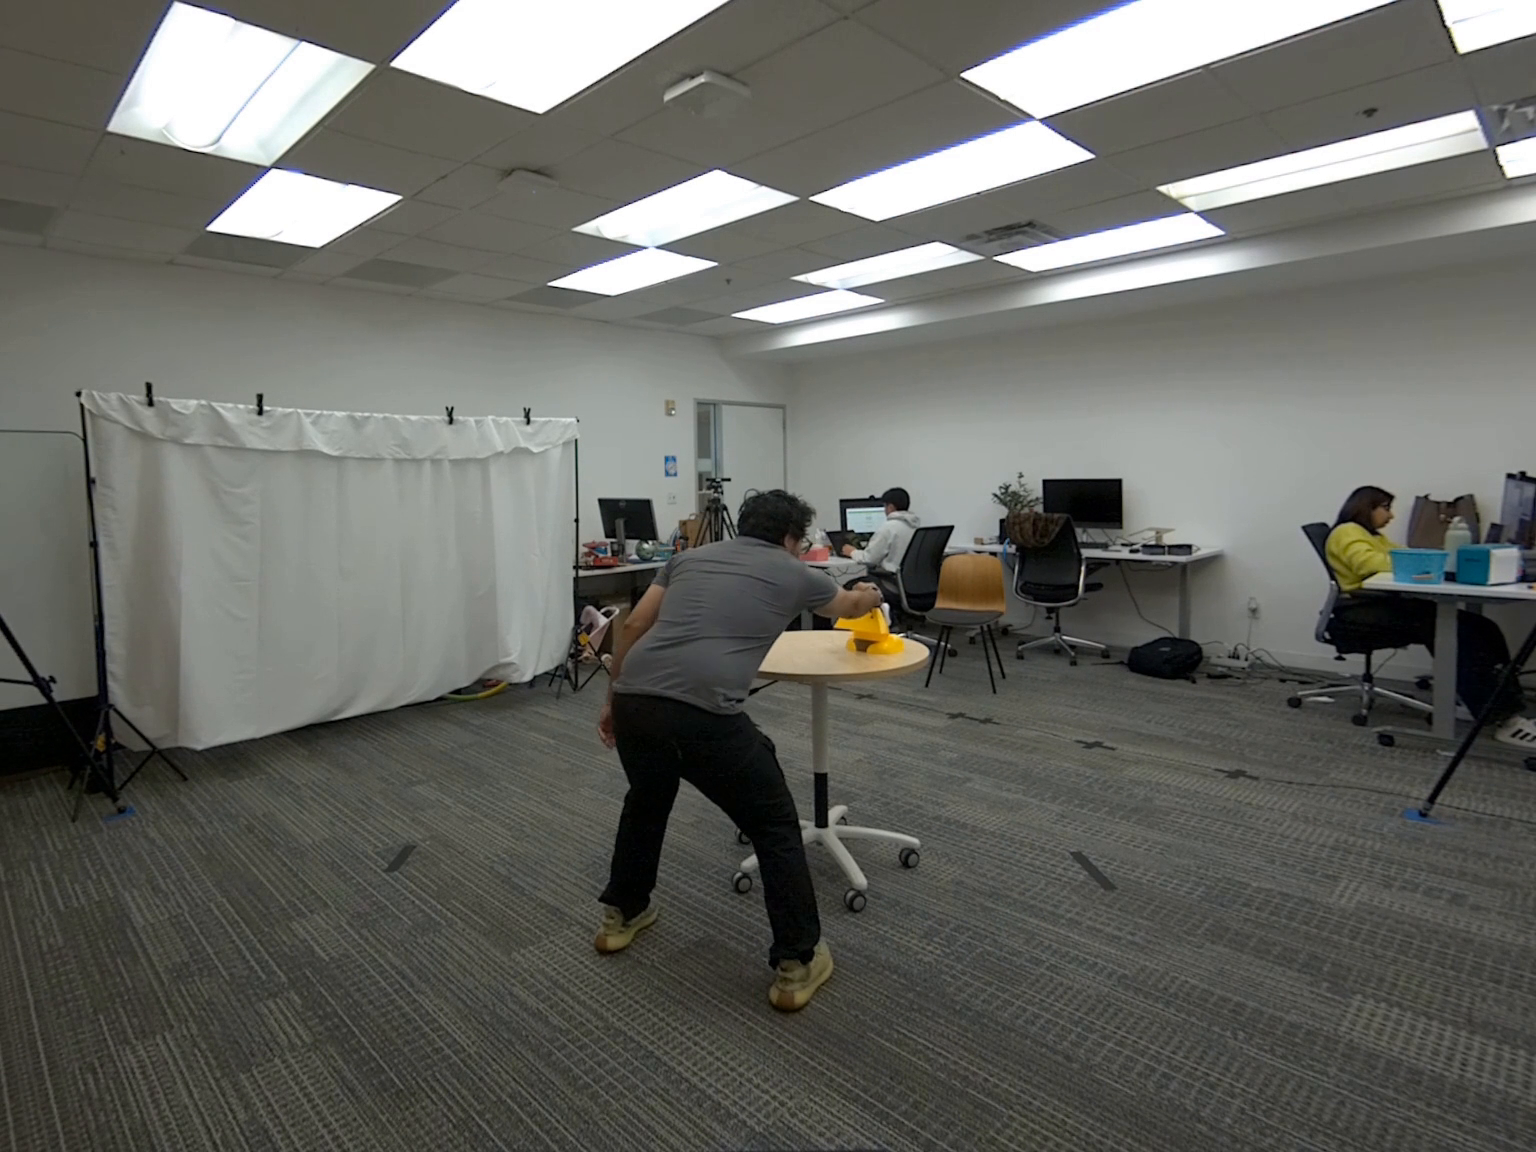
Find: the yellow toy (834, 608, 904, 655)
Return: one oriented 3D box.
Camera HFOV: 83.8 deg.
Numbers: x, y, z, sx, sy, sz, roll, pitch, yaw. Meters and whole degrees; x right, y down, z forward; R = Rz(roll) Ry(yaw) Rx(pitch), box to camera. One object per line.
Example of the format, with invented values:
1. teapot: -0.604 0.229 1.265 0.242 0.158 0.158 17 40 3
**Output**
1. yellow toy: 0.372 0.145 3.029 0.211 0.230 0.188 4 6 45
